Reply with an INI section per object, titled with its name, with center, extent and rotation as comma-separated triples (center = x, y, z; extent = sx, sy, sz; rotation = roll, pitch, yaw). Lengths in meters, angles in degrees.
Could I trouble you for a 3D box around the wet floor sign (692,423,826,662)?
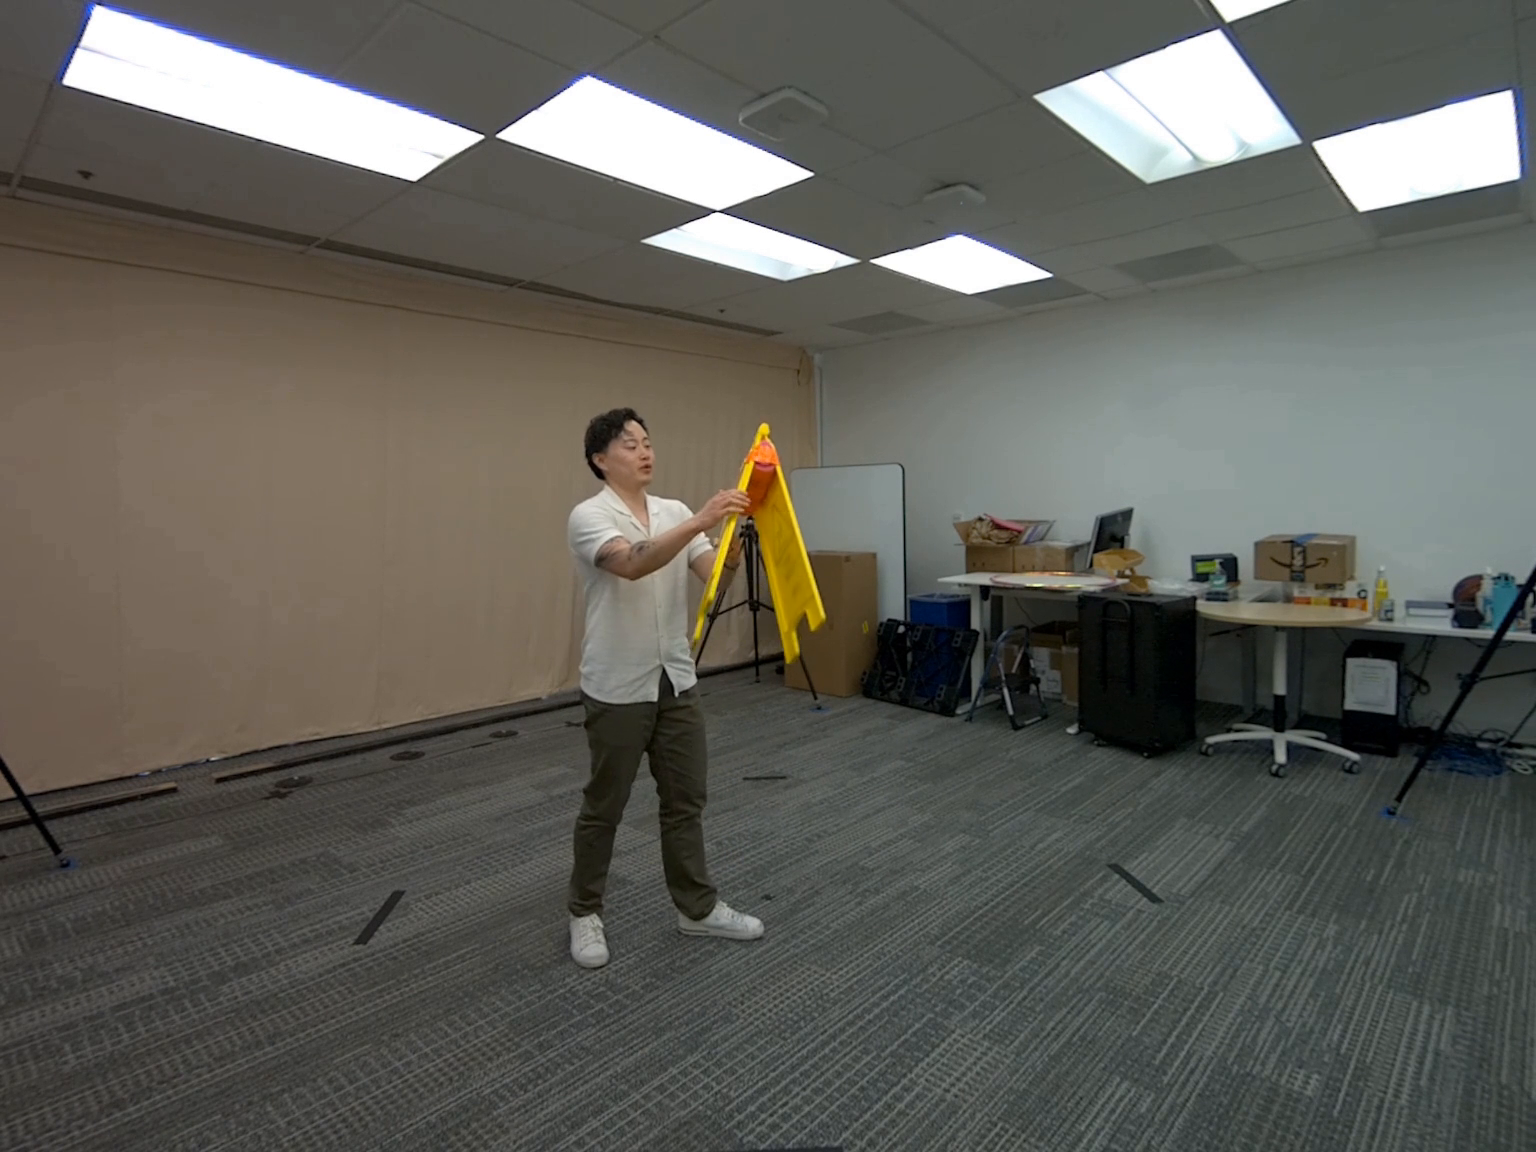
[wet floor sign]
center = -0.026, -0.116, 2.332
extent = 0.286, 0.656, 0.281
rotation = 8, -32, -12
